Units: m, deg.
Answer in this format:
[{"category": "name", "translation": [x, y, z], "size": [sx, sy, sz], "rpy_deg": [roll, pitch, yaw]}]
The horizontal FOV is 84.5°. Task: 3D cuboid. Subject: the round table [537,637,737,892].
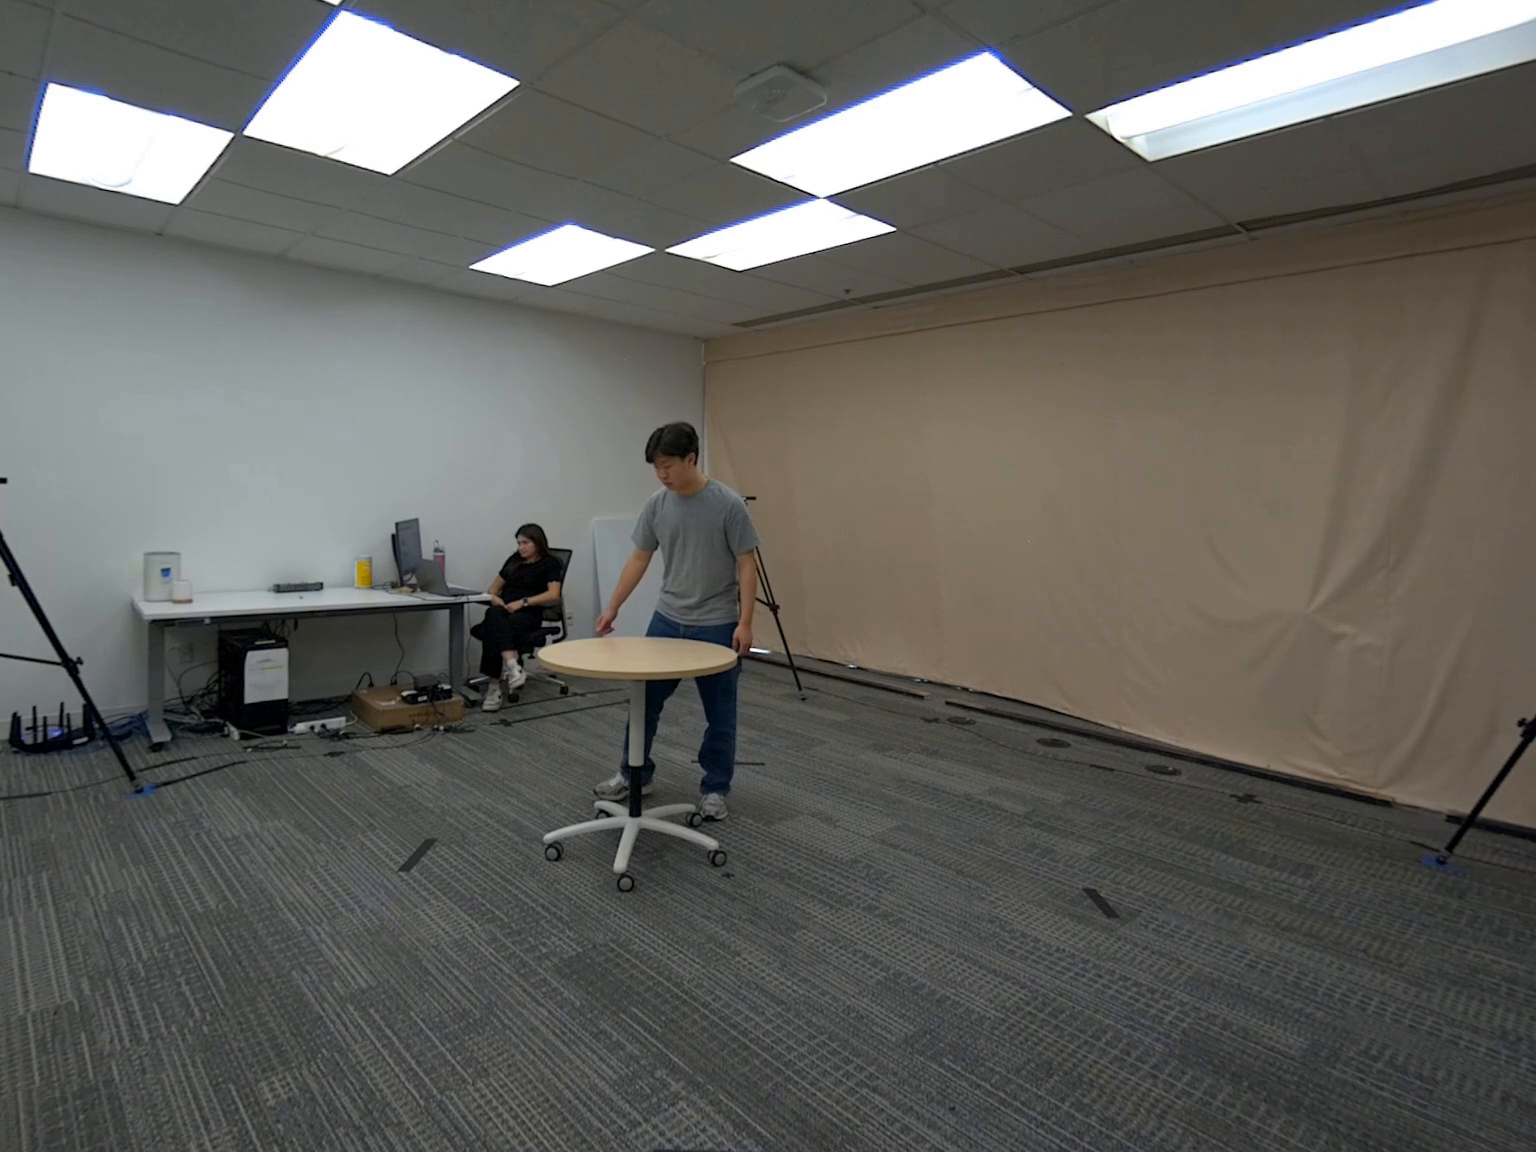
[{"category": "round table", "translation": [-0.519, 0.691, 3.278], "size": [0.763, 0.792, 0.766], "rpy_deg": [2, 4, -1]}]
